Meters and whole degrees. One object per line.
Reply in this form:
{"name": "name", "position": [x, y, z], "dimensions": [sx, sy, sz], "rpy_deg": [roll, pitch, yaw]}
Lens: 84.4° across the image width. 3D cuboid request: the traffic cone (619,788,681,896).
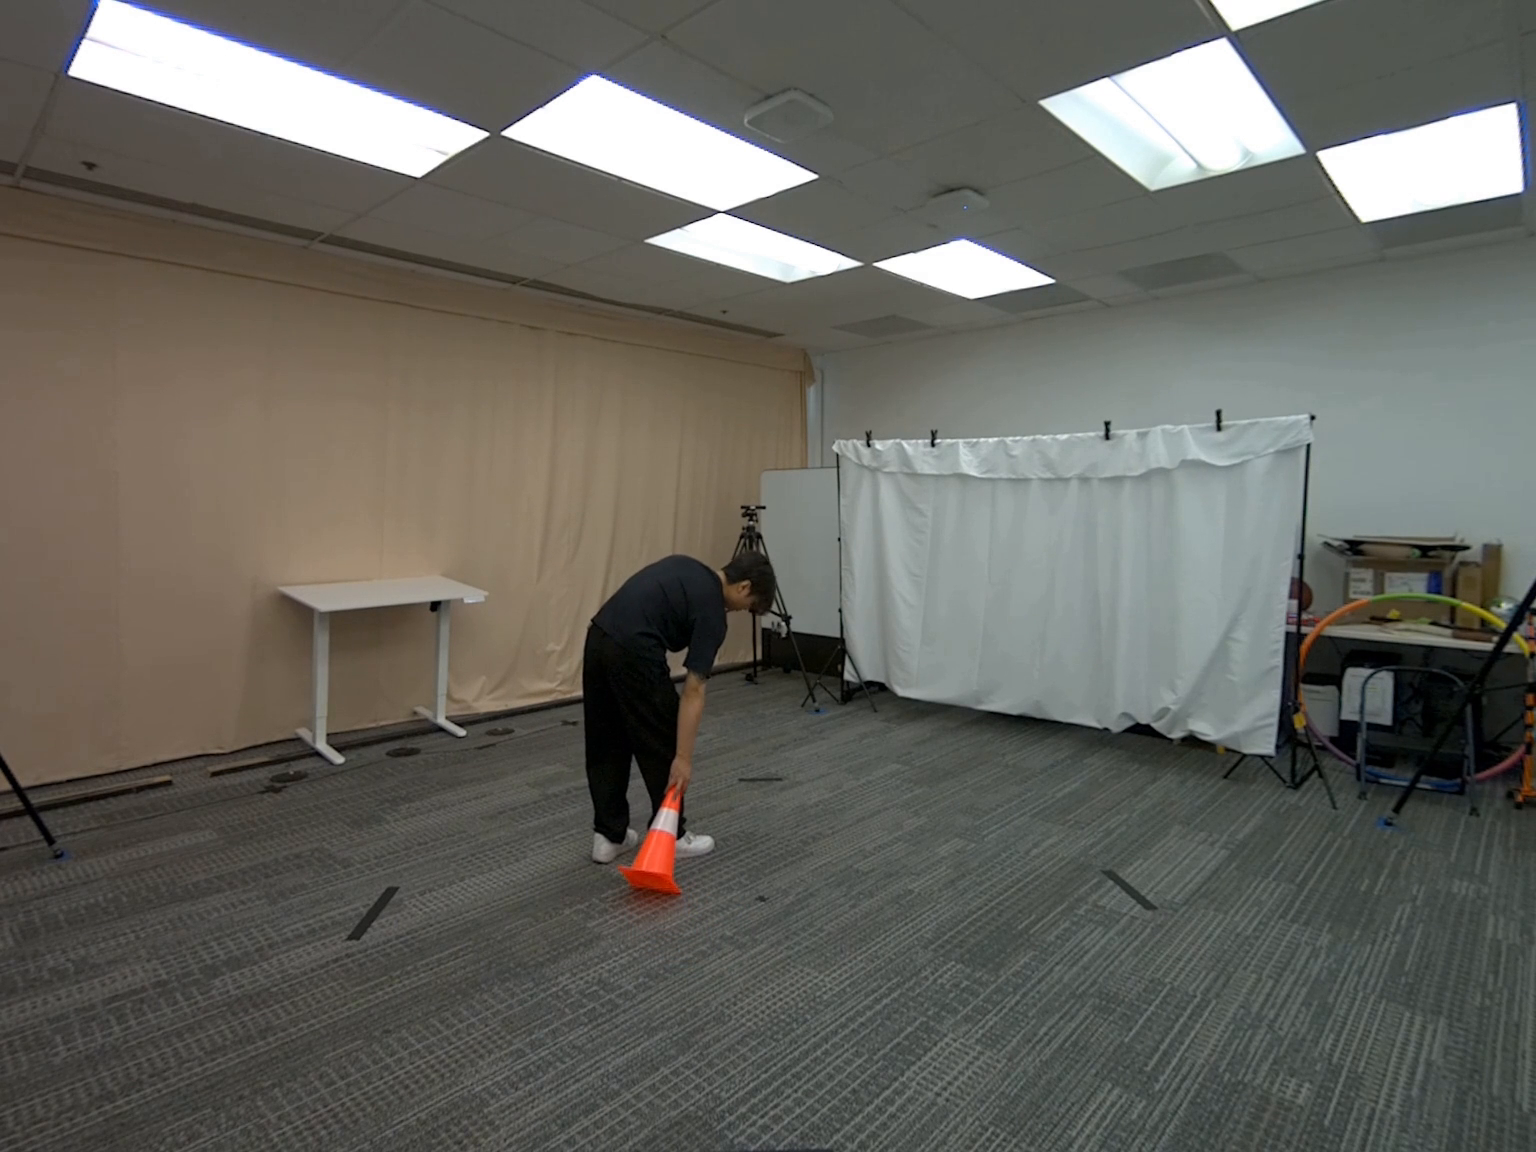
{"name": "traffic cone", "position": [-0.384, 0.929, 3.095], "dimensions": [0.207, 0.388, 0.198], "rpy_deg": [-6, -40, 21]}
